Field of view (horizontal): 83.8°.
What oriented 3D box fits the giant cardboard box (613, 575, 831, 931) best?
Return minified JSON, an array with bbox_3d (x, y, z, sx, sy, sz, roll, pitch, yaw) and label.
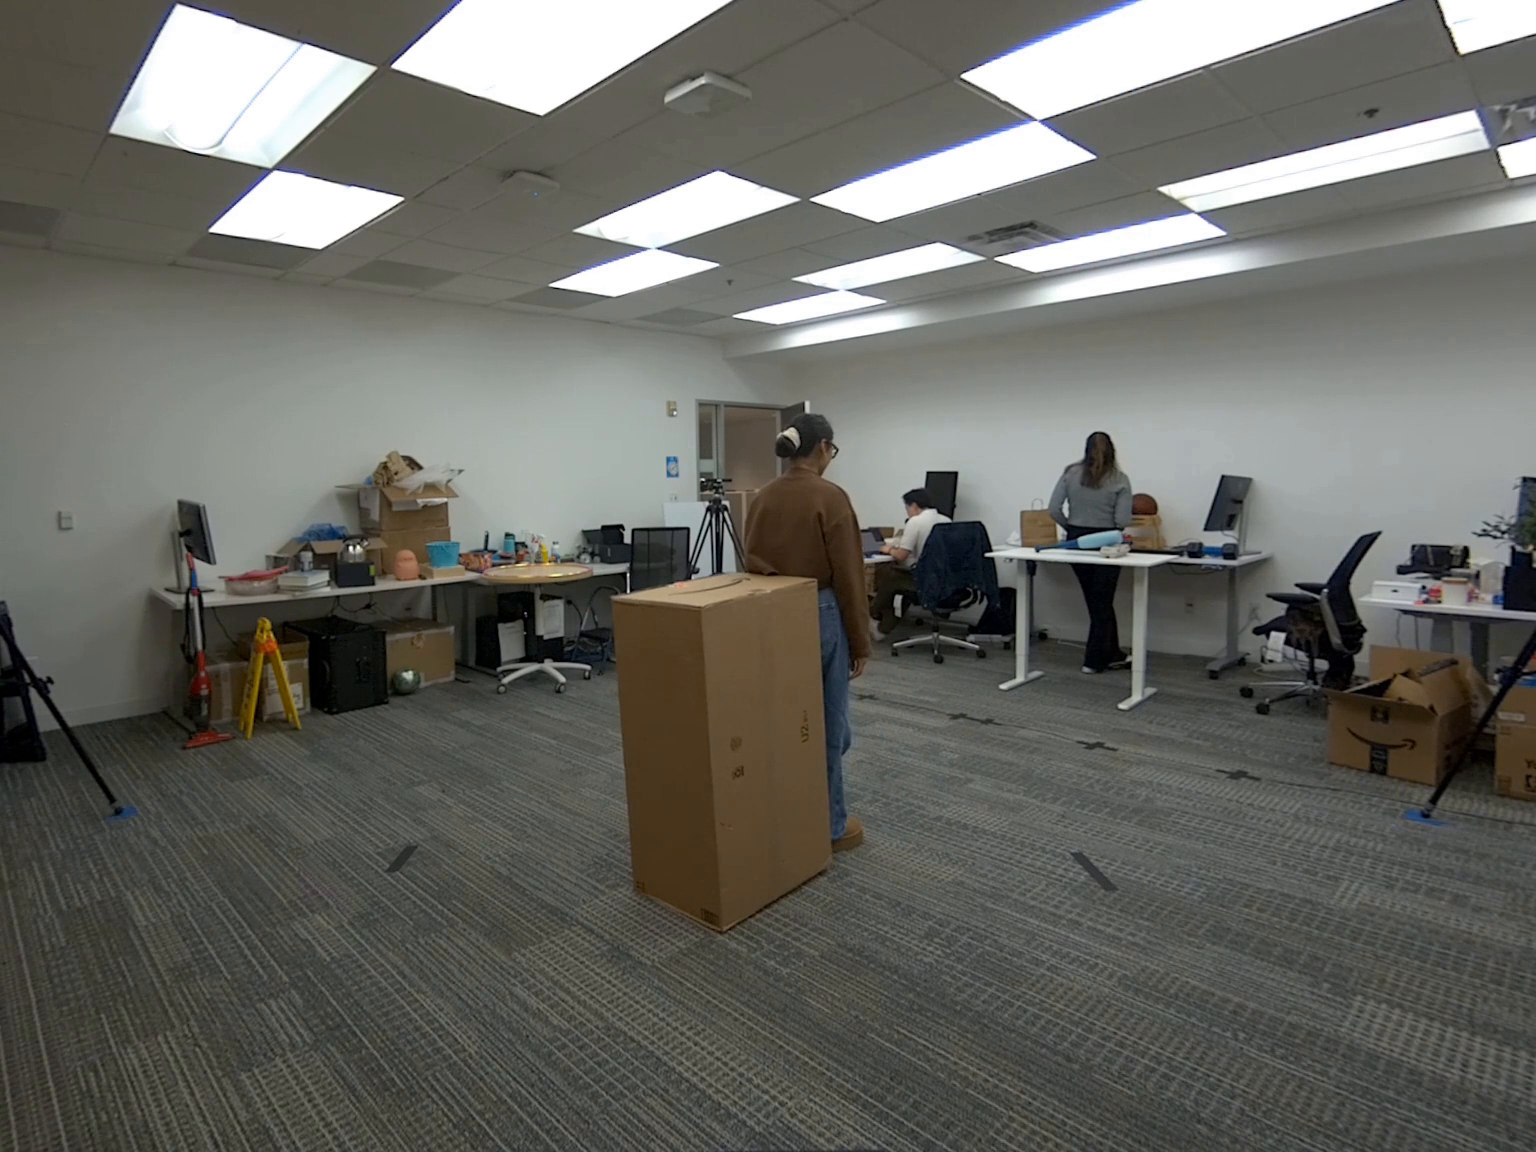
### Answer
[{"bbox_3d":[-0.148,0.548,2.925,0.460,1.022,0.570,2,7,41],"label":"giant cardboard box"}]
